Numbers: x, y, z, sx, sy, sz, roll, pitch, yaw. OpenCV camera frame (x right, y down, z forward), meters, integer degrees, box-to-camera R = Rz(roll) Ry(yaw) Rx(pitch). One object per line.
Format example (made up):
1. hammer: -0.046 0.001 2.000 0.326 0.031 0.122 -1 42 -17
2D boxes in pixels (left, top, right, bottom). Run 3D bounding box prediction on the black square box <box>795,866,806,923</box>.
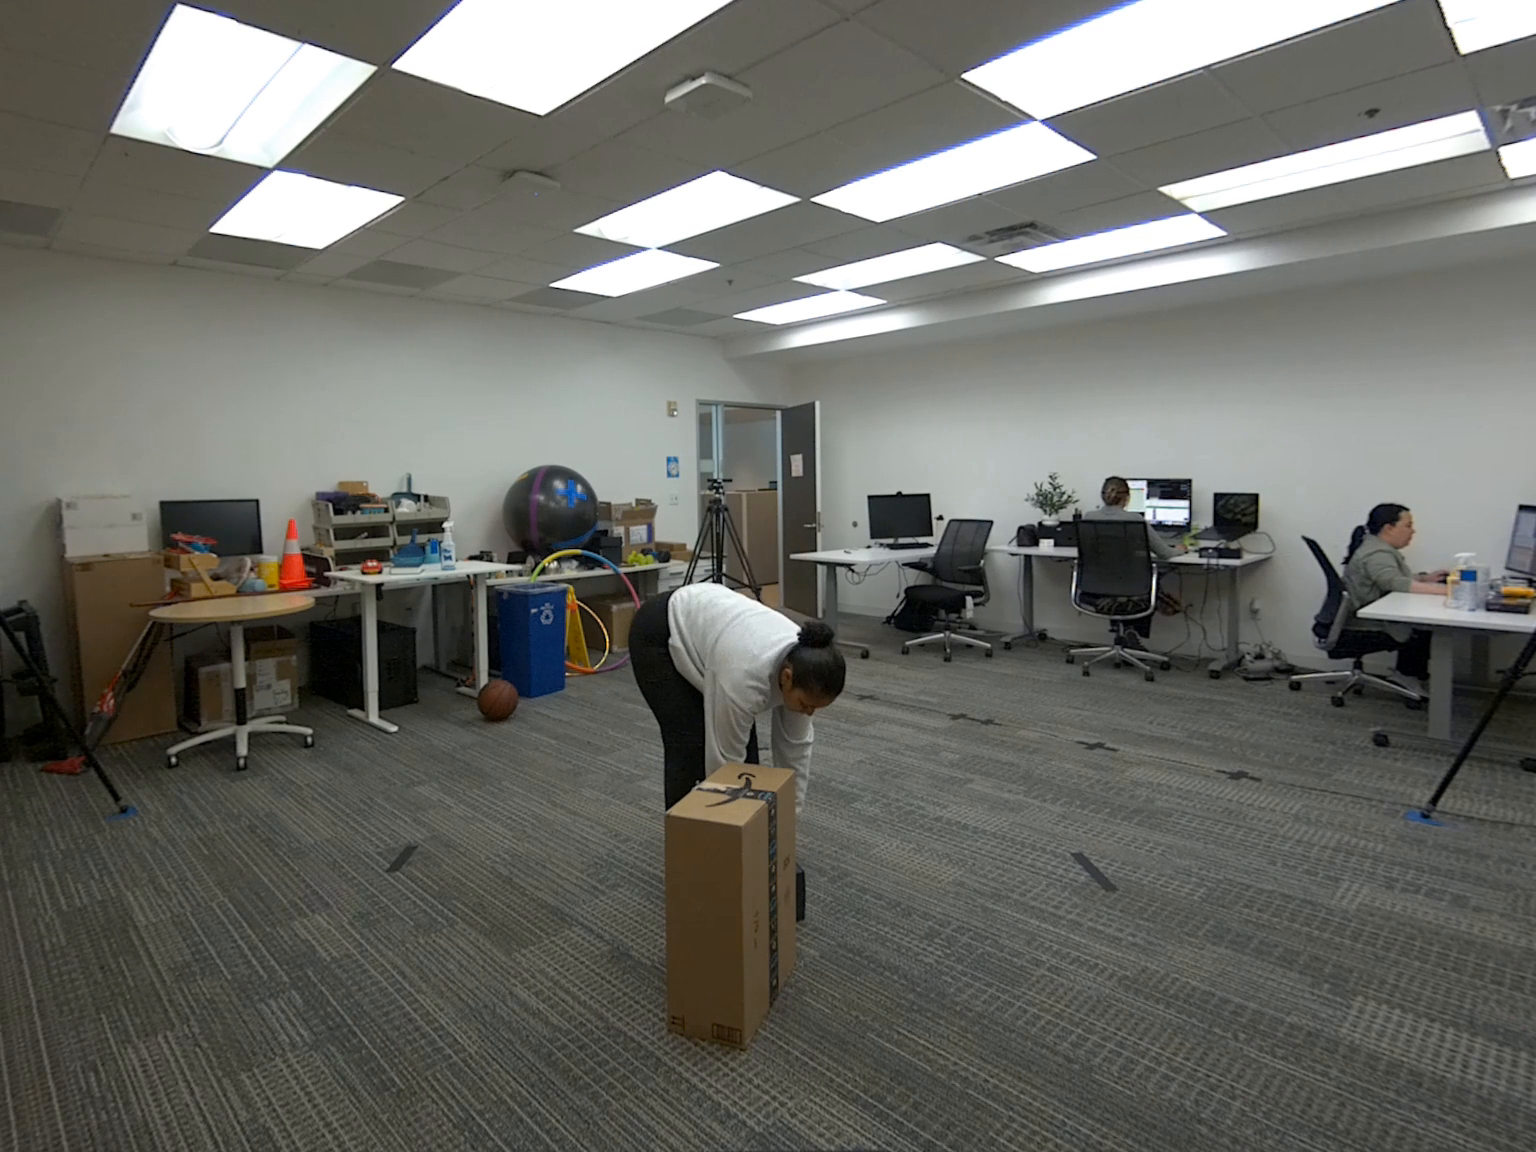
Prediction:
1. black square box: -0.017 0.990 2.775 0.224 0.155 0.222 -4 6 -21
